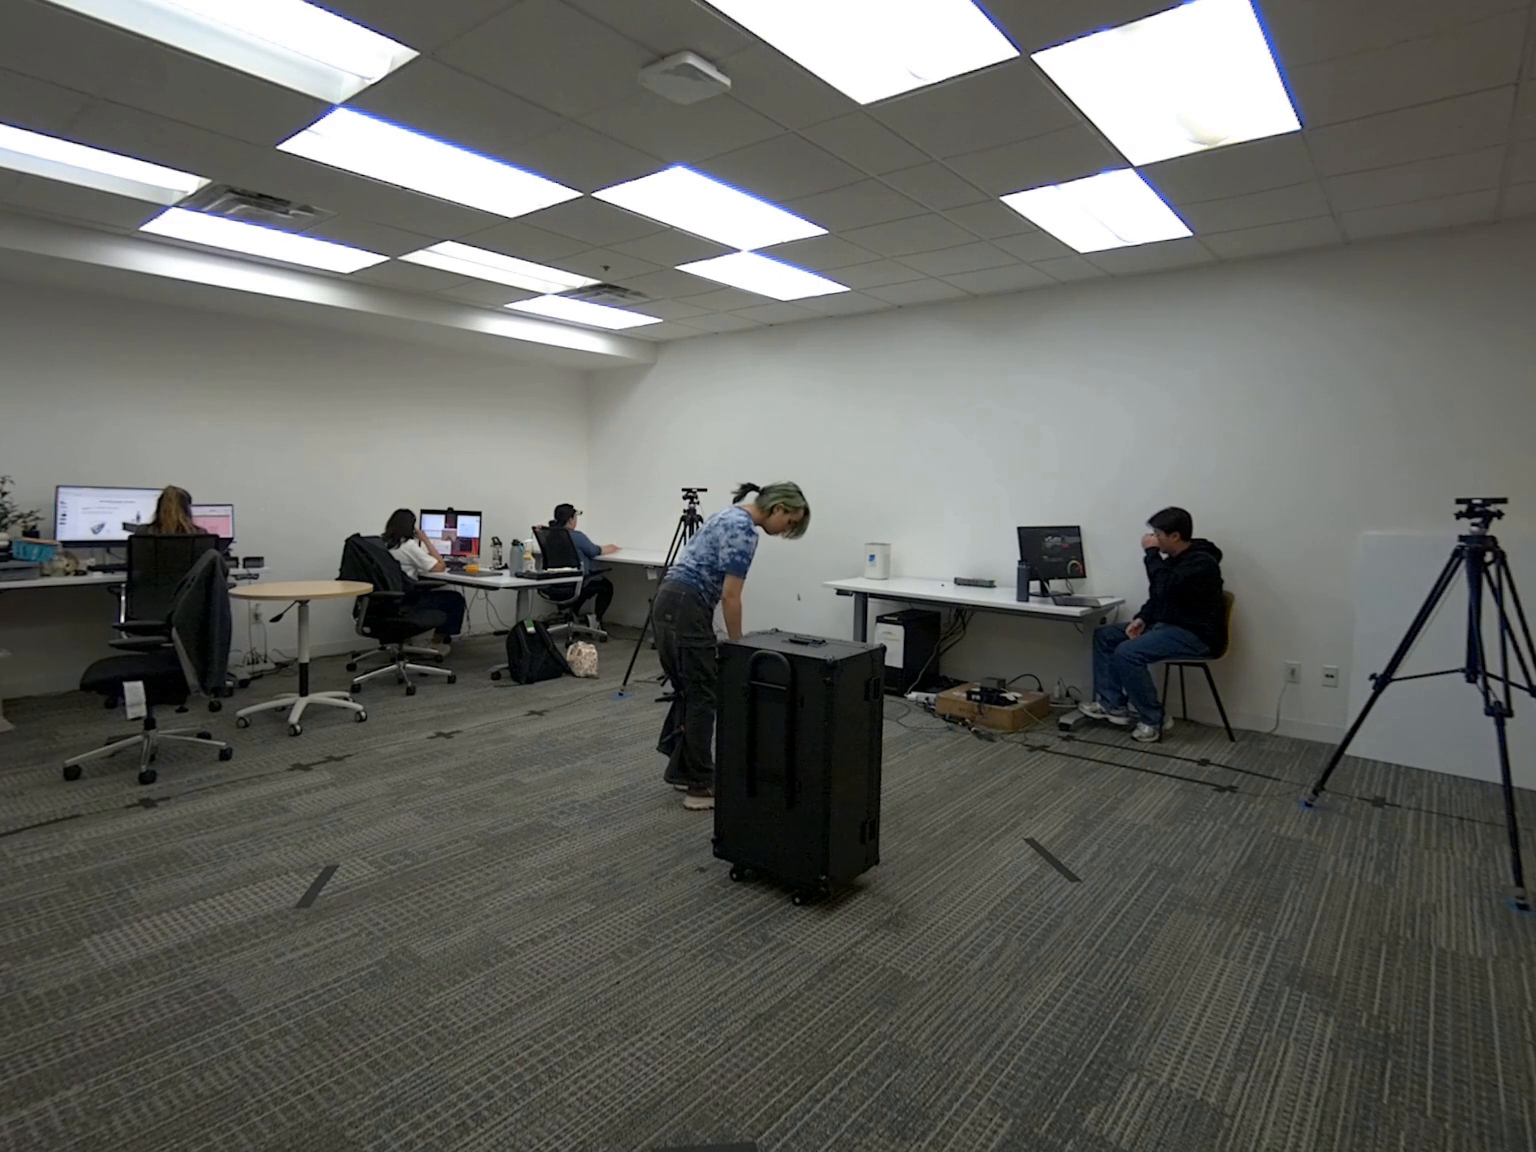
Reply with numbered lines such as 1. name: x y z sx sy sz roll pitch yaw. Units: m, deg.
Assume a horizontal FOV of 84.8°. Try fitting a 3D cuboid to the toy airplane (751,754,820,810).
1. toy airplane: 0.071 0.926 3.810 0.248 0.156 0.263 0 5 -10
